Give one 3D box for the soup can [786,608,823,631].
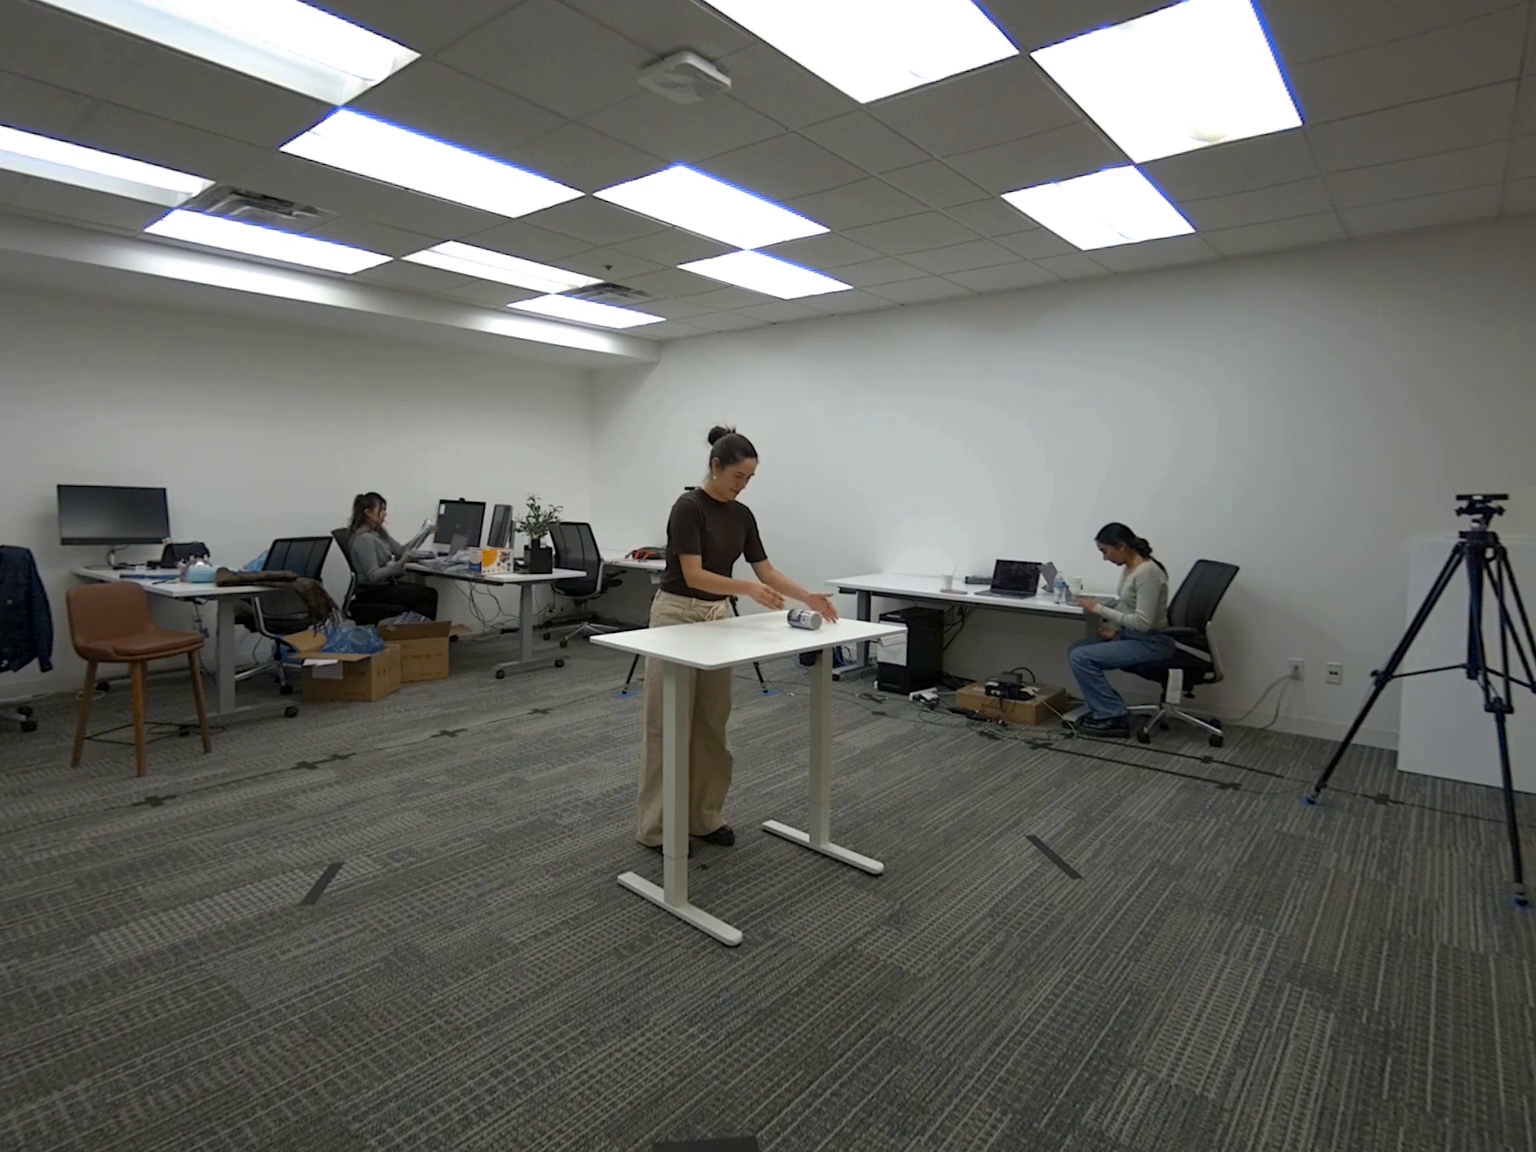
[{"bbox_3d":[0.121,0.154,3.094,0.126,0.067,0.065,7,7,39],"label":"soup can"}]
